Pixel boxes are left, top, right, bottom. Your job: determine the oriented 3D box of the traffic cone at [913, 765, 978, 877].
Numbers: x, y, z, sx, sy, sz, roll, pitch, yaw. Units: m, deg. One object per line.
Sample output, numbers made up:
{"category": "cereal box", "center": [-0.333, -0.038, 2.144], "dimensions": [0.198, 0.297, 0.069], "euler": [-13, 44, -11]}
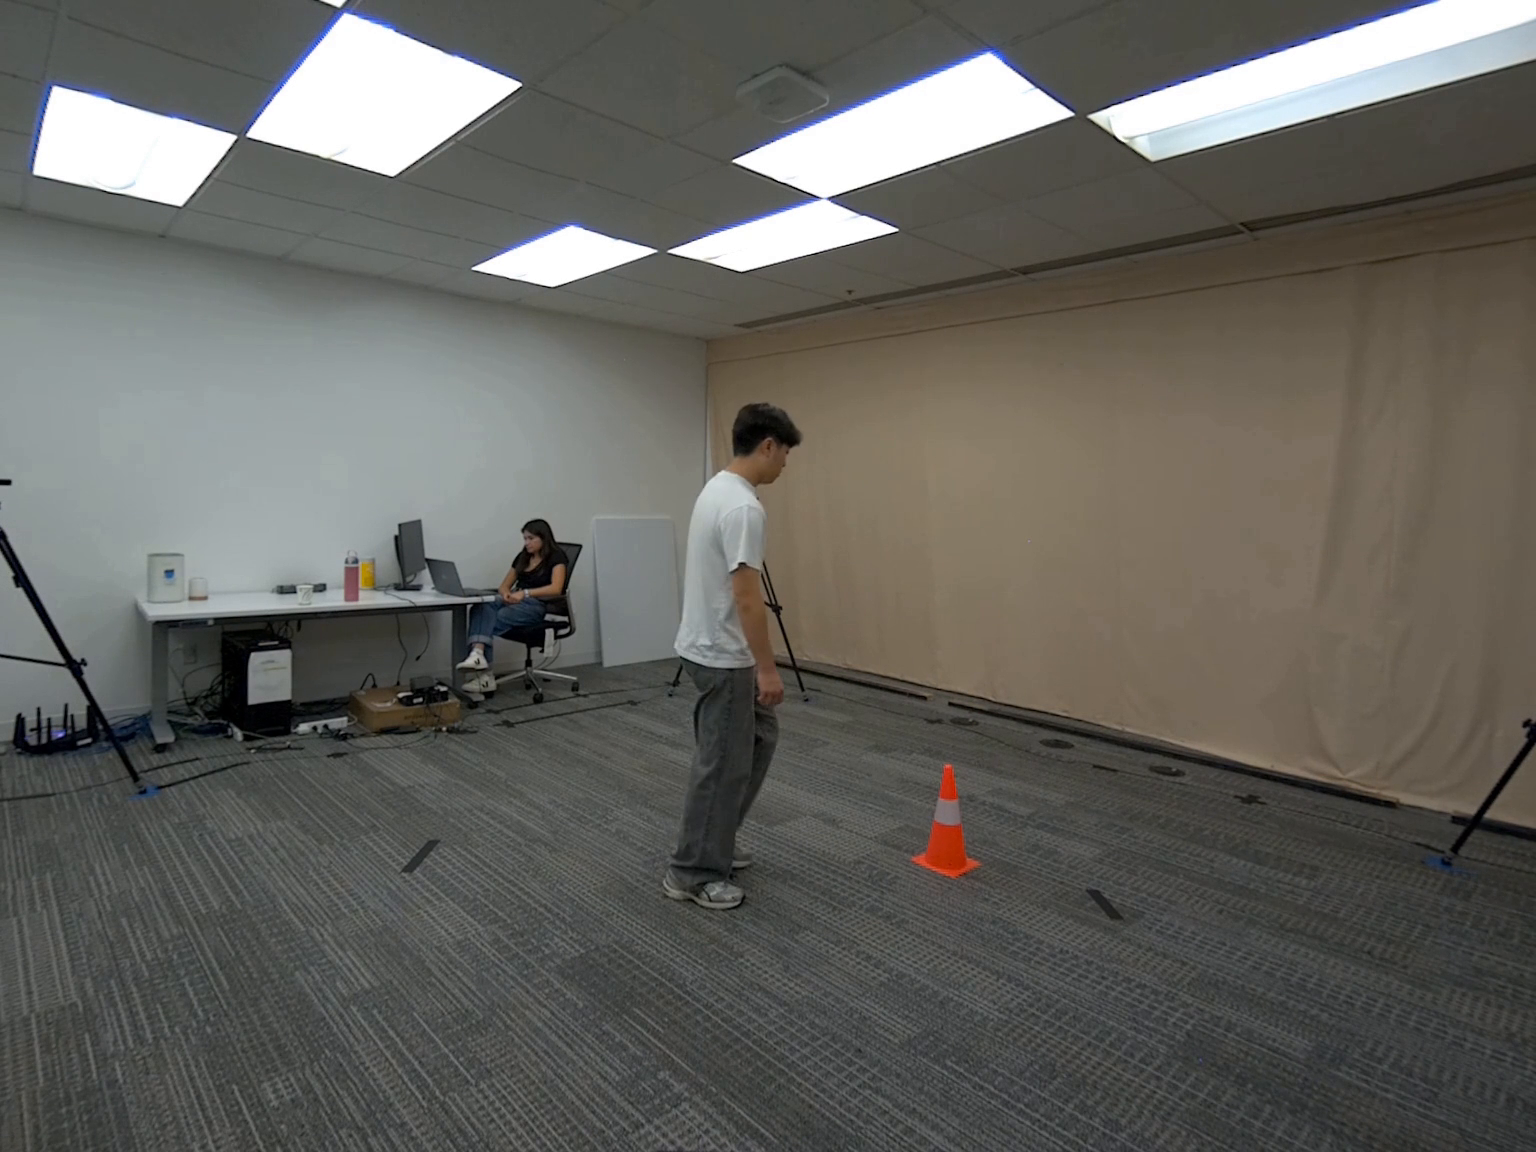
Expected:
{"category": "traffic cone", "center": [0.691, 0.930, 3.263], "dimensions": [0.200, 0.382, 0.208], "euler": [0, 6, -38]}
